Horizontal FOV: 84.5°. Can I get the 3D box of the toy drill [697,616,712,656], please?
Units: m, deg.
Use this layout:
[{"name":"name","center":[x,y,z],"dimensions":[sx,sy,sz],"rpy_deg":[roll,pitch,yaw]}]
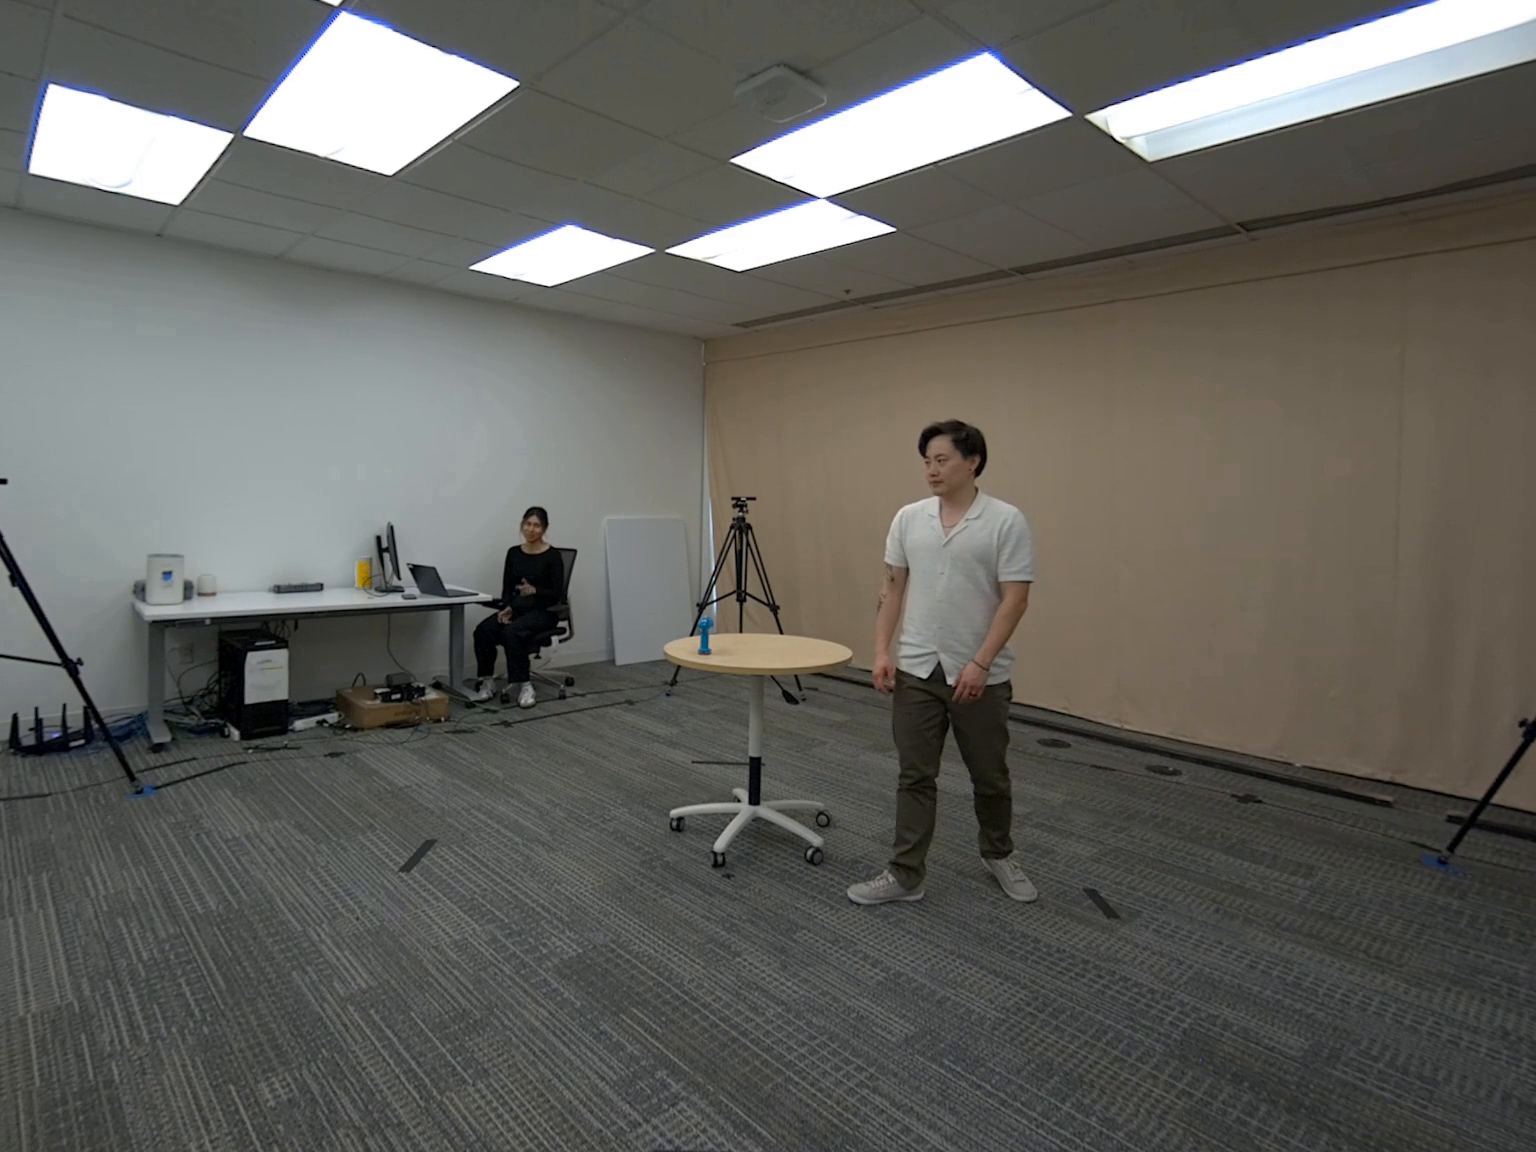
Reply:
[{"name":"toy drill","center":[-0.254,0.227,3.341],"dimensions":[0.061,0.145,0.170],"rpy_deg":[0,4,1]}]
